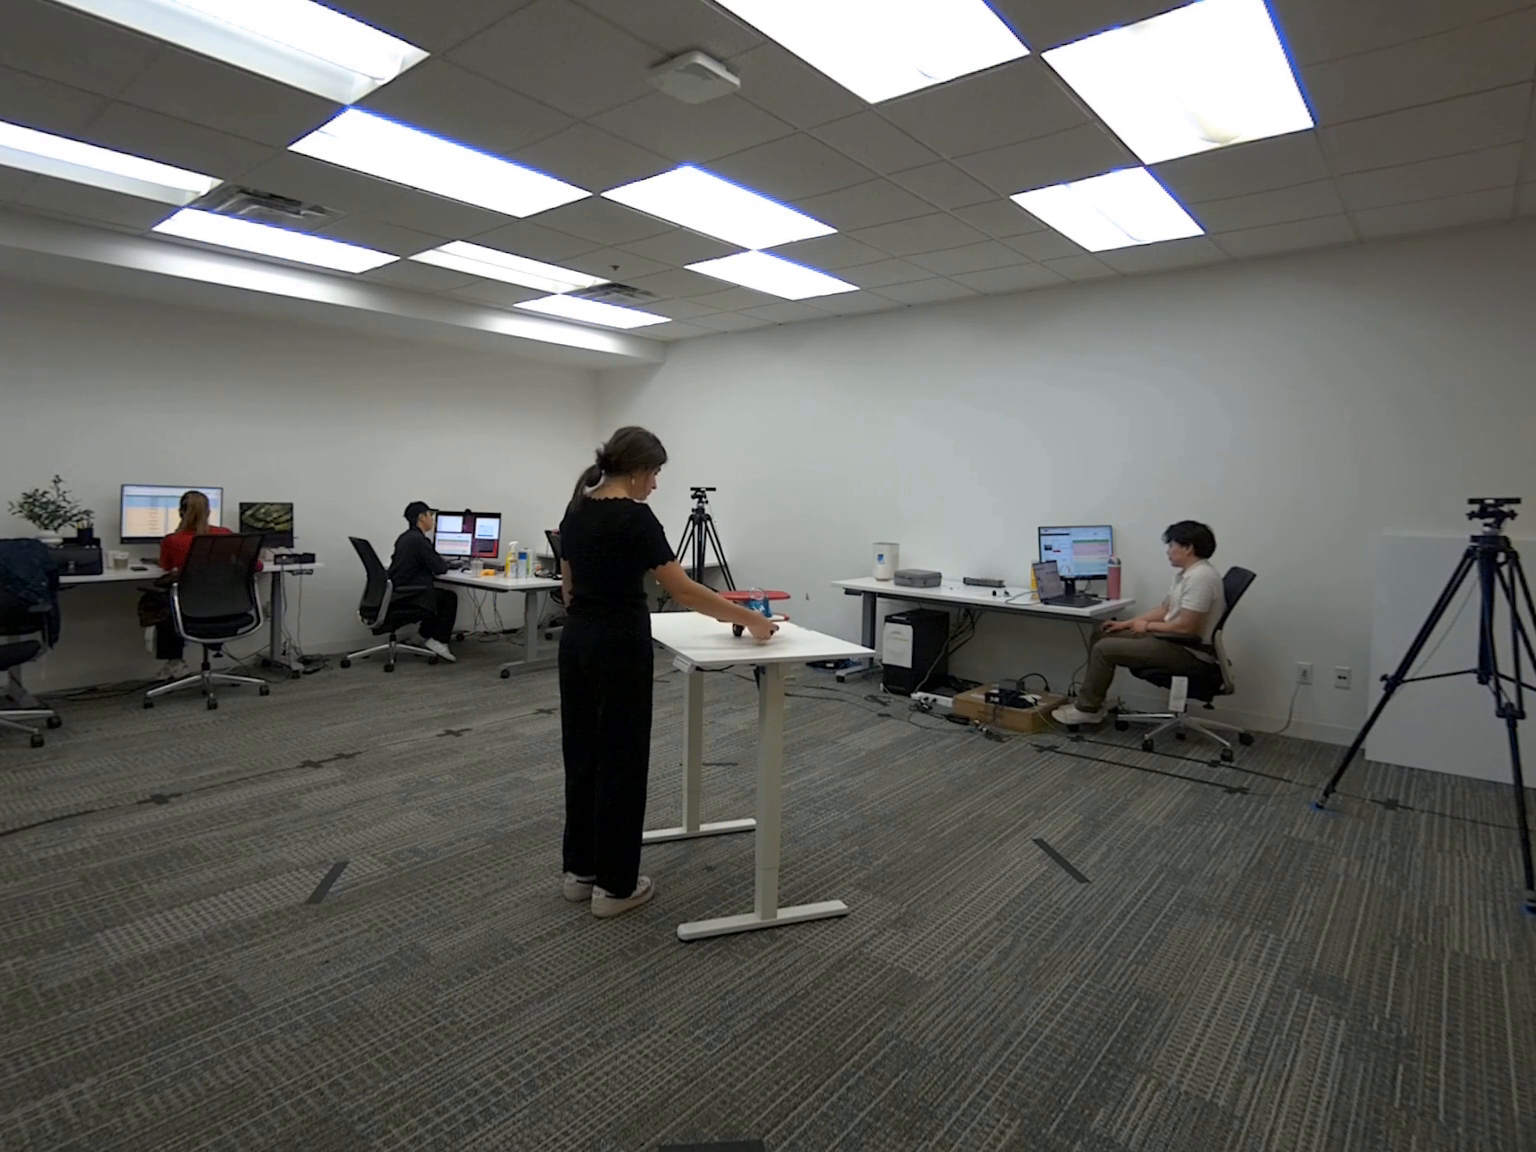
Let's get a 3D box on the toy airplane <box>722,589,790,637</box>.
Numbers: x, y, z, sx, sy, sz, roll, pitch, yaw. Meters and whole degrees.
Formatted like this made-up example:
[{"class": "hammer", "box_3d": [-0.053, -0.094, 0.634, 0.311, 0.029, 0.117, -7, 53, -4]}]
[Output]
[{"class": "toy airplane", "box_3d": [-0.031, 0.125, 2.862, 0.243, 0.157, 0.266, 1, -5, -42]}]
